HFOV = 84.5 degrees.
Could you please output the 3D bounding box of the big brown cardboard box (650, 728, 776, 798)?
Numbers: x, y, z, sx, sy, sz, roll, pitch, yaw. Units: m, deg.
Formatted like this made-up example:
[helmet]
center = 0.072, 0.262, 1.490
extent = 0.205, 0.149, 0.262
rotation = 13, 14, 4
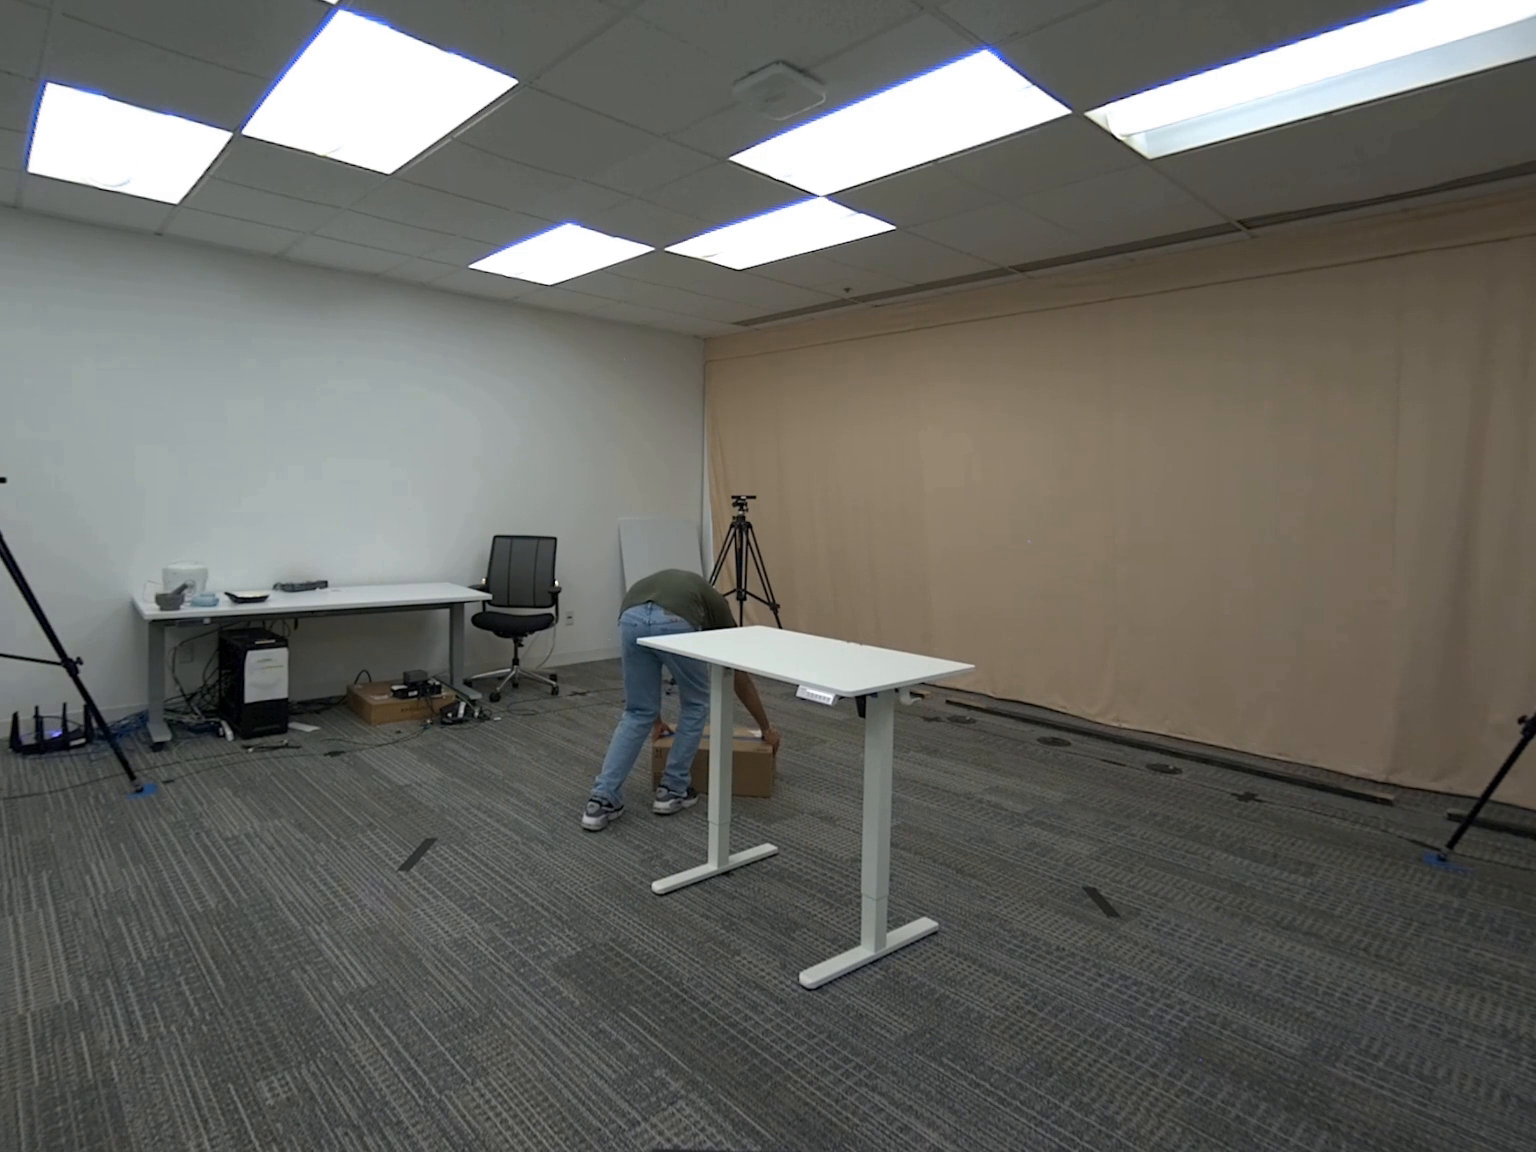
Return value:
[big brown cardboard box]
center = -0.253, 0.888, 4.133
extent = 0.591, 0.232, 0.417
rotation = 1, 5, 5
